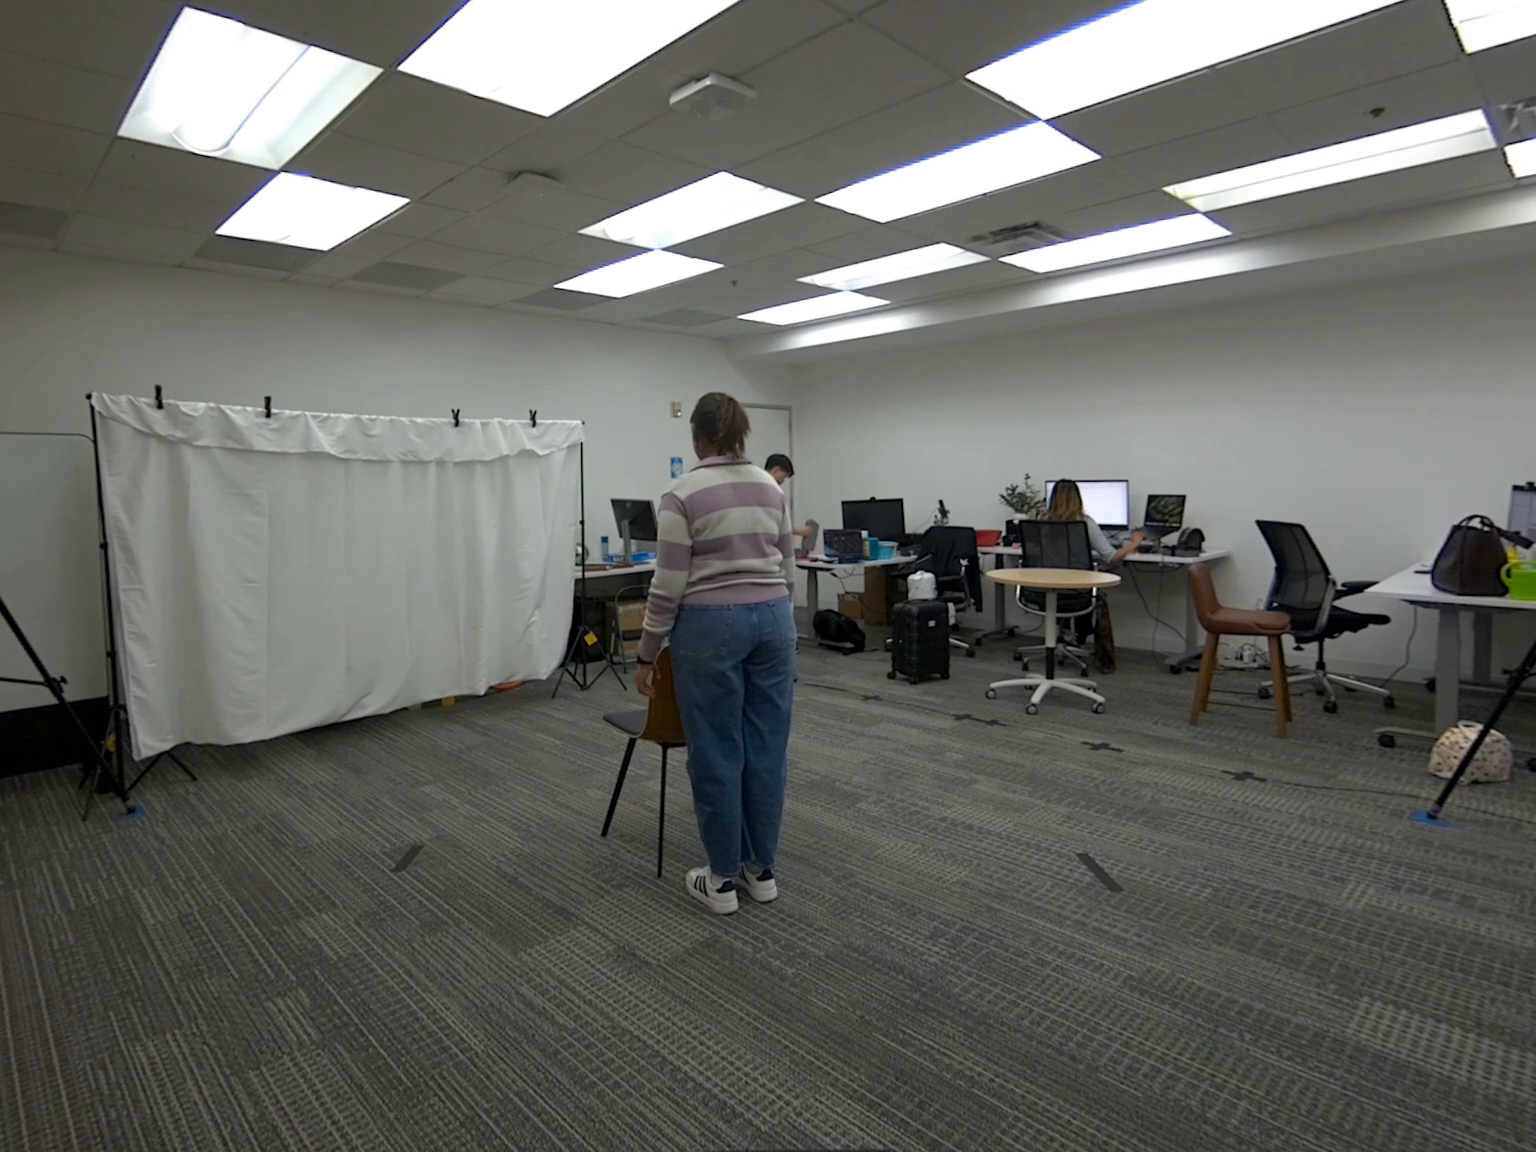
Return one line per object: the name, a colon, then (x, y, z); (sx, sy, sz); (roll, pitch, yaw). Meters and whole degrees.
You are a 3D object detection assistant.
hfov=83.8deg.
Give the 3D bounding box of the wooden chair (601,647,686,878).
wooden chair: (-0.355, 0.605, 3.293); (0.466, 0.872, 0.540); (-4, 9, -36)
